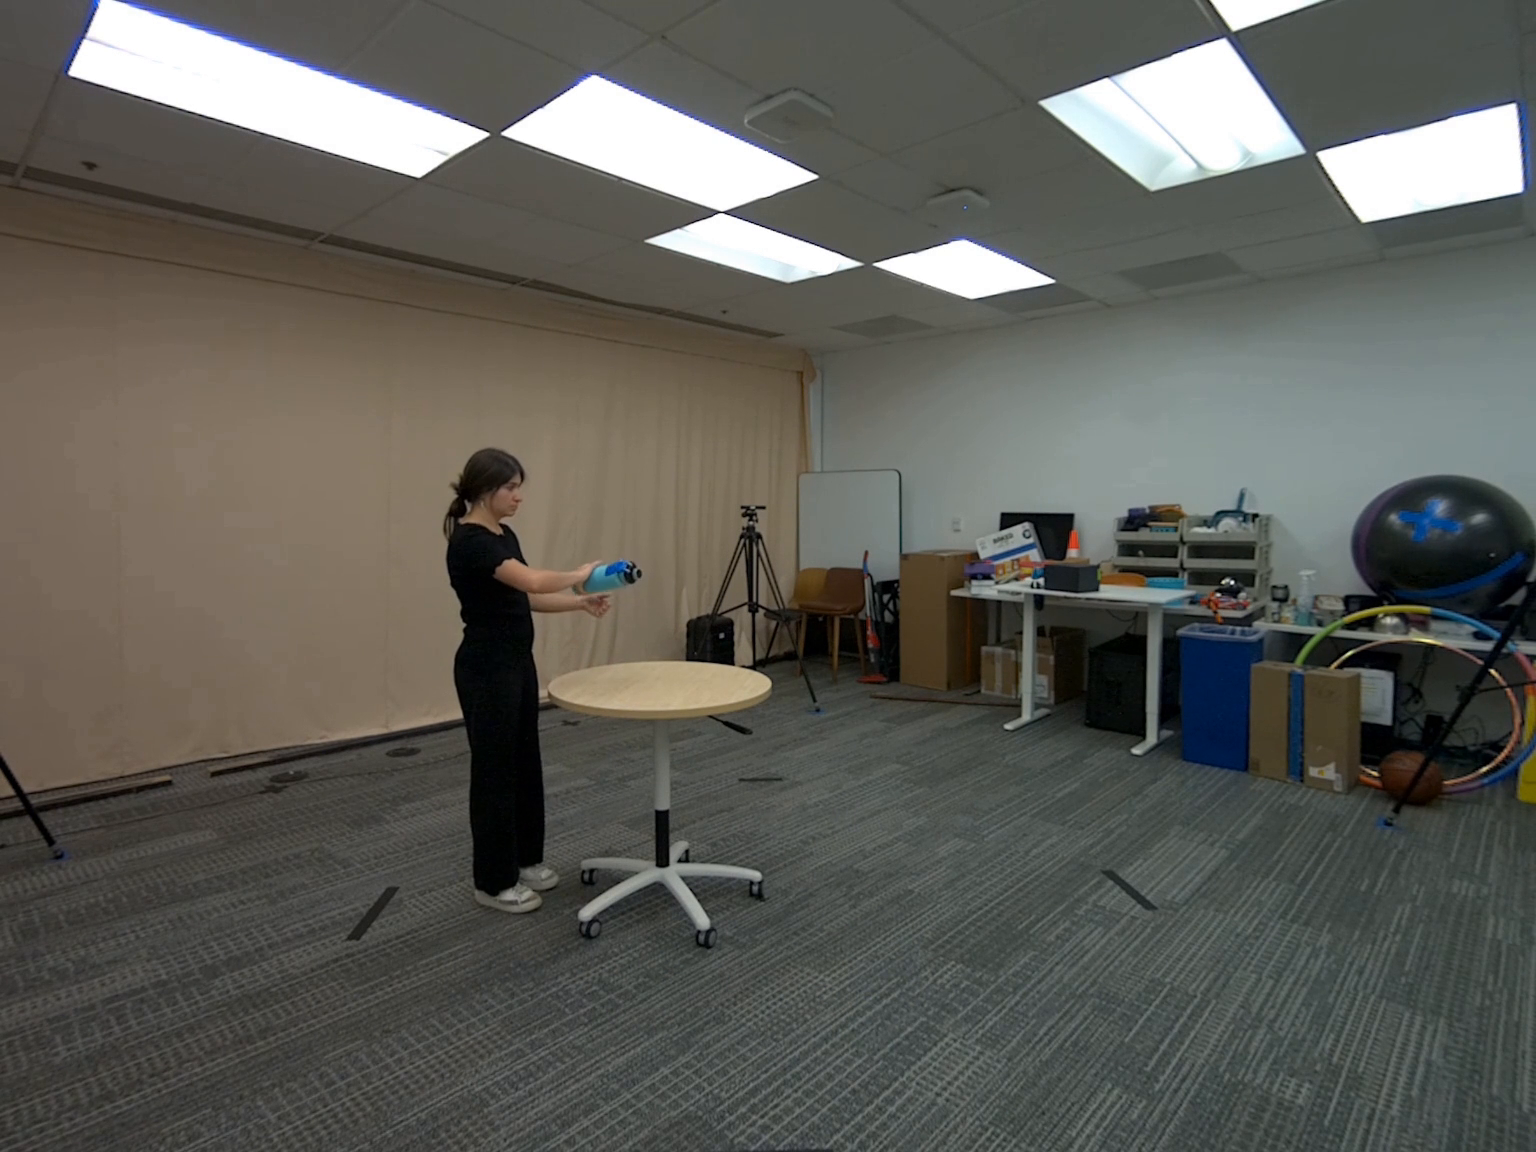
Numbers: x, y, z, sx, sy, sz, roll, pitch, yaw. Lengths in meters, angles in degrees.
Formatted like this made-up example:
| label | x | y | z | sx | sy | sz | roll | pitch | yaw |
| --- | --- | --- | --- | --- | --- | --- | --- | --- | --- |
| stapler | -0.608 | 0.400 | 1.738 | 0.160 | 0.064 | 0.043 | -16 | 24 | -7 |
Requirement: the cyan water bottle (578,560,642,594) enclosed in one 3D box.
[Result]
| label | x | y | z | sx | sy | sz | roll | pitch | yaw |
| --- | --- | --- | --- | --- | --- | --- | --- | --- | --- |
| cyan water bottle | -0.569 | 0.009 | 2.959 | 0.291 | 0.092 | 0.090 | -12 | -4 | 35 |
